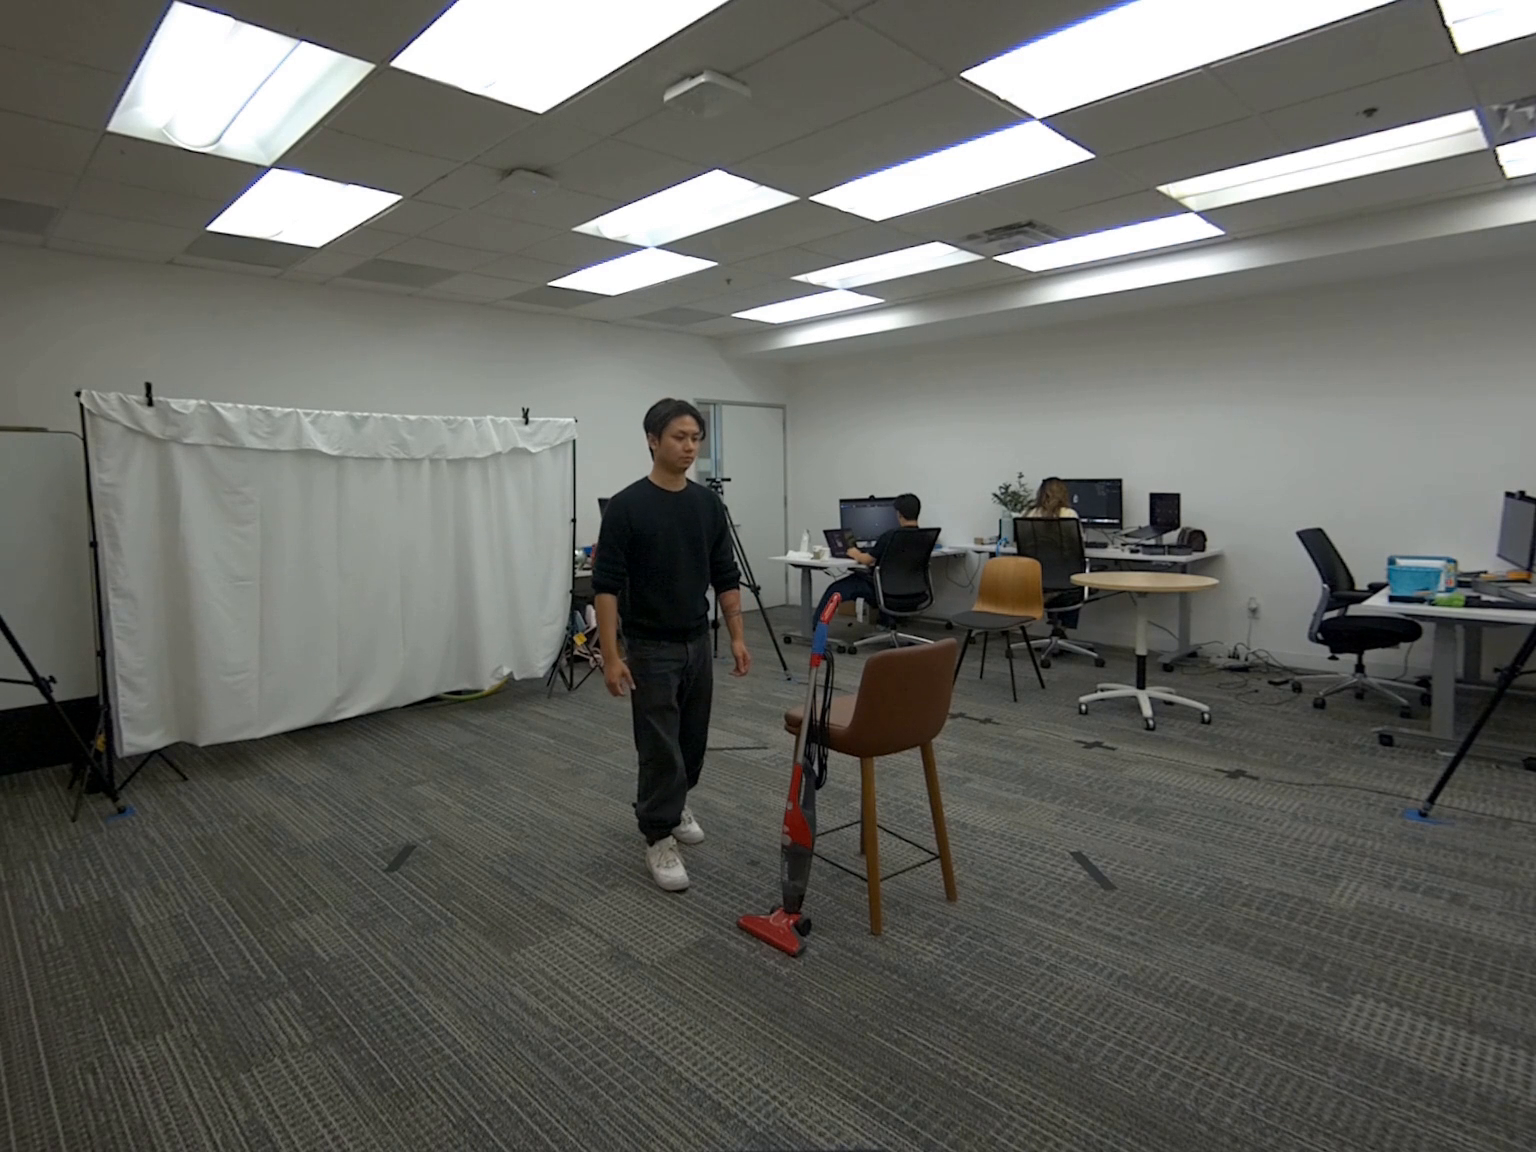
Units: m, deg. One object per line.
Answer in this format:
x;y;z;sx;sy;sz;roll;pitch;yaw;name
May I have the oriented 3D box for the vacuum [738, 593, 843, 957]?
0.142;0.583;2.672;0.260;1.054;0.139;3;-9;45;vacuum
